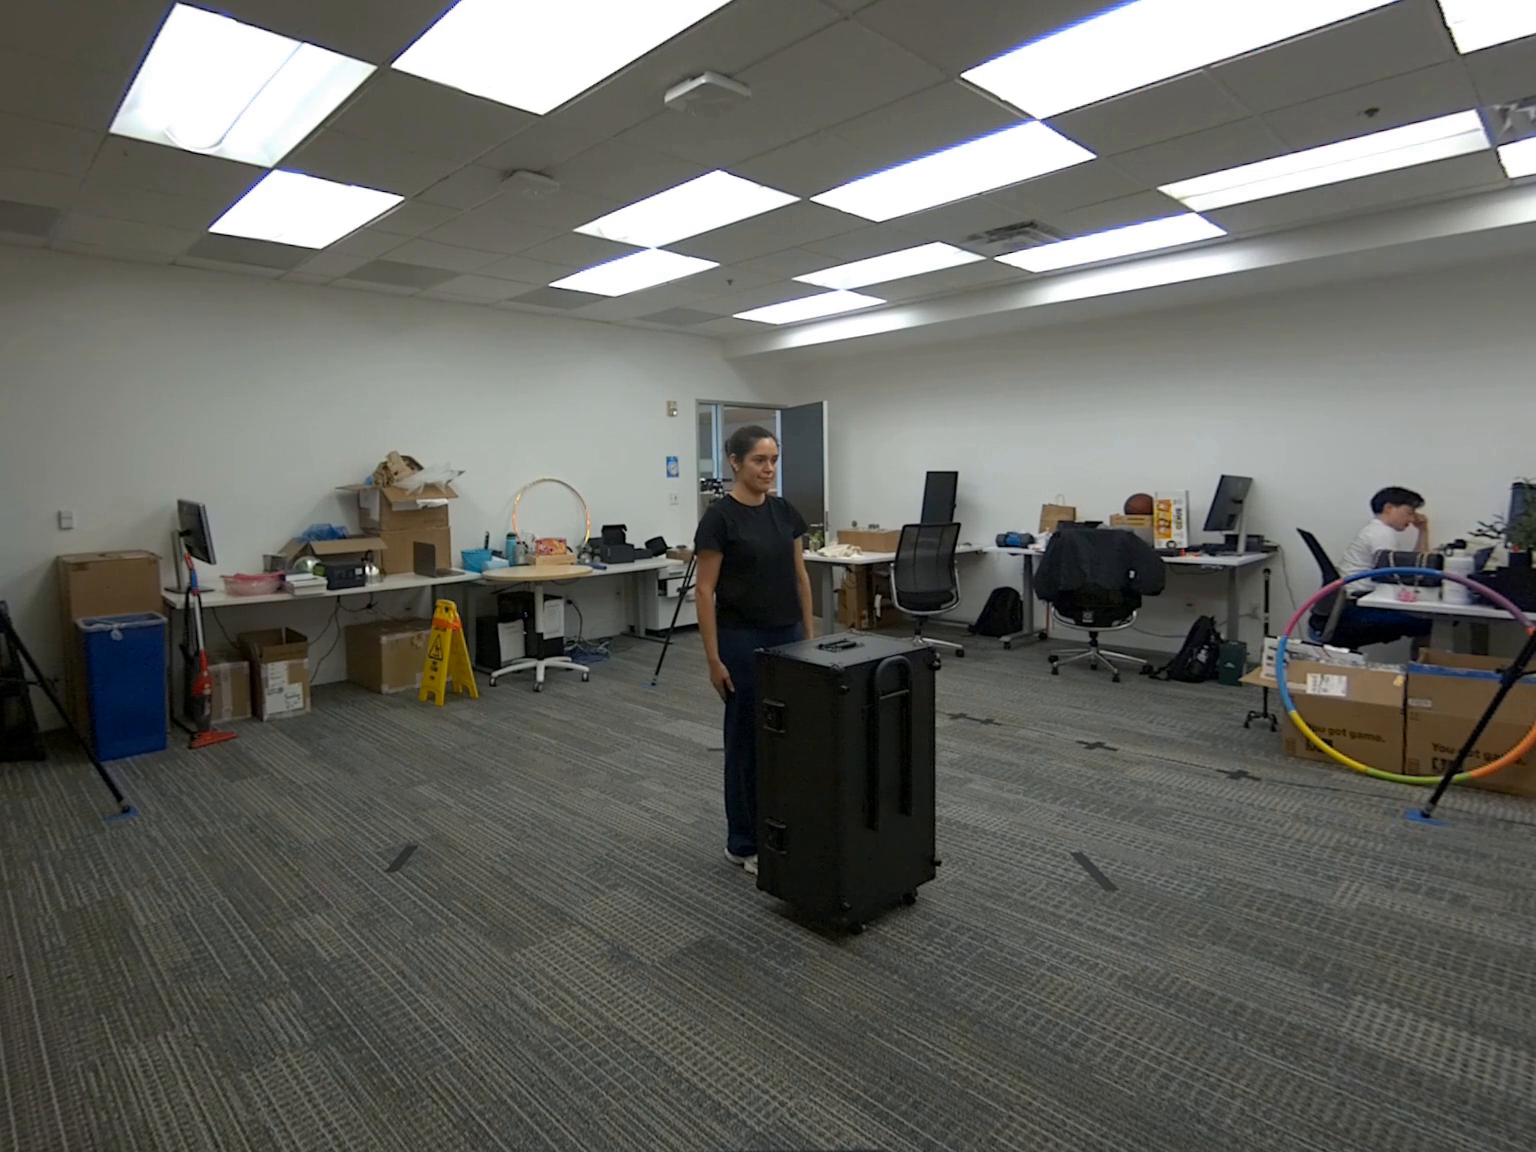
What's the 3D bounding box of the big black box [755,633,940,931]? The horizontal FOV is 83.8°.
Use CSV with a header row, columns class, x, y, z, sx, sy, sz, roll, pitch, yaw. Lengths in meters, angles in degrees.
class,x,y,z,sx,sy,sz,roll,pitch,yaw
big black box,0.269,0.654,2.771,0.507,0.858,0.409,-5,7,-42
